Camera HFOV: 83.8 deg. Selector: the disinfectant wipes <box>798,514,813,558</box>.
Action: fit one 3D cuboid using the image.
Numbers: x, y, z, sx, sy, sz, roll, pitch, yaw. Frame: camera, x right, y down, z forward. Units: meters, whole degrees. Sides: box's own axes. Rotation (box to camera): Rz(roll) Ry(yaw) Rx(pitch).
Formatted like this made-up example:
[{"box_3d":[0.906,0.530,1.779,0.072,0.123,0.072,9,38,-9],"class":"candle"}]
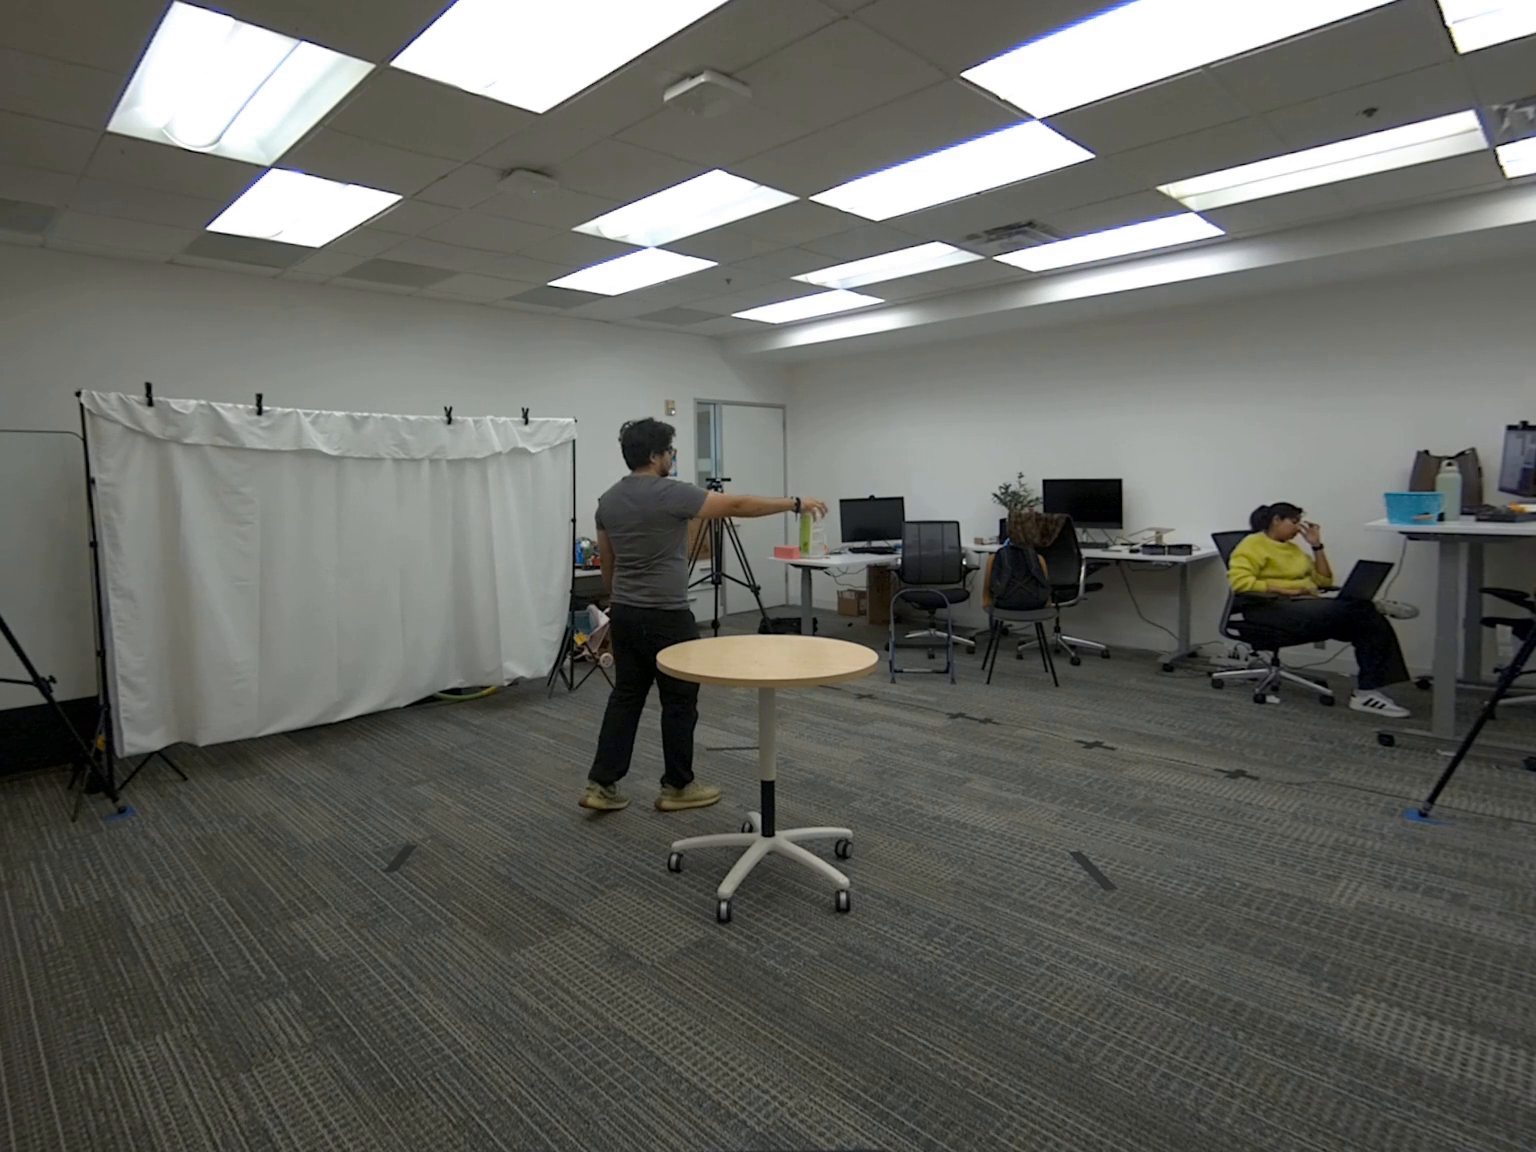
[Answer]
[{"box_3d":[0.186,-0.185,3.647,0.117,0.216,0.118,2,6,-2],"class":"disinfectant wipes"}]
